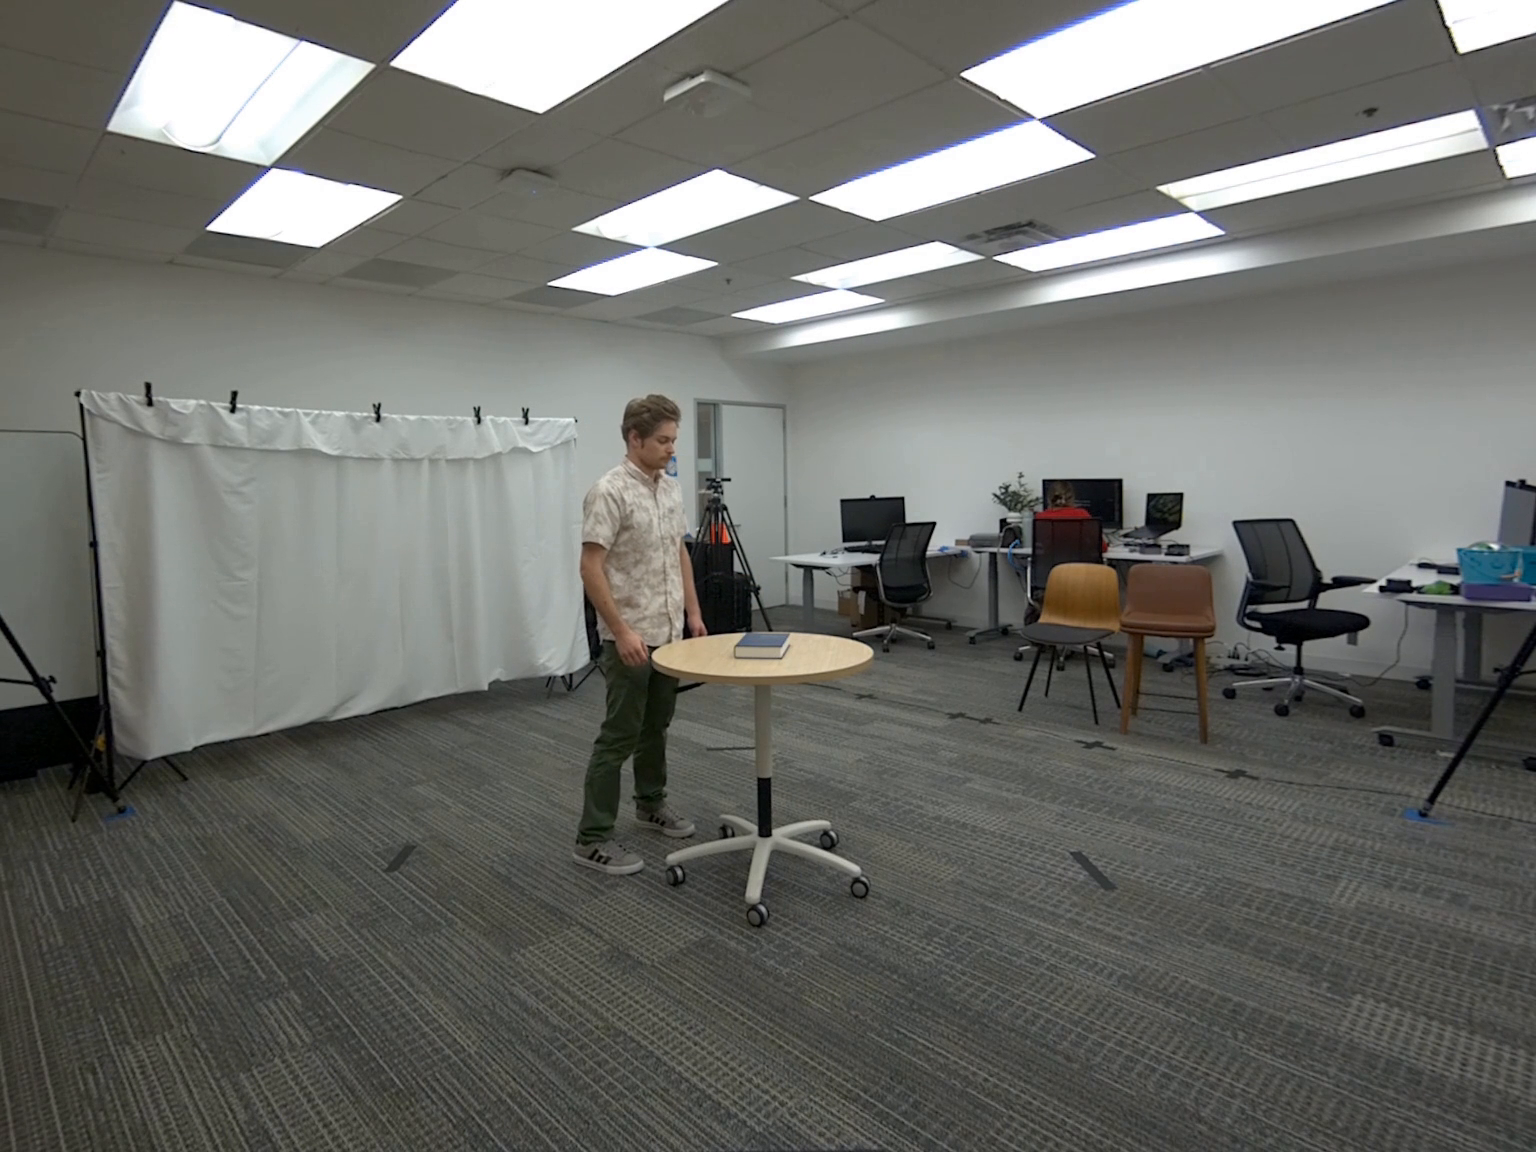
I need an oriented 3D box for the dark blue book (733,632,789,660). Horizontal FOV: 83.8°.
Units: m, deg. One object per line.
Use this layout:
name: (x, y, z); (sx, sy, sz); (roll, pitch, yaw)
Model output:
dark blue book: (-0.012, 0.241, 2.968); (0.165, 0.045, 0.244); (-1, 6, 9)
